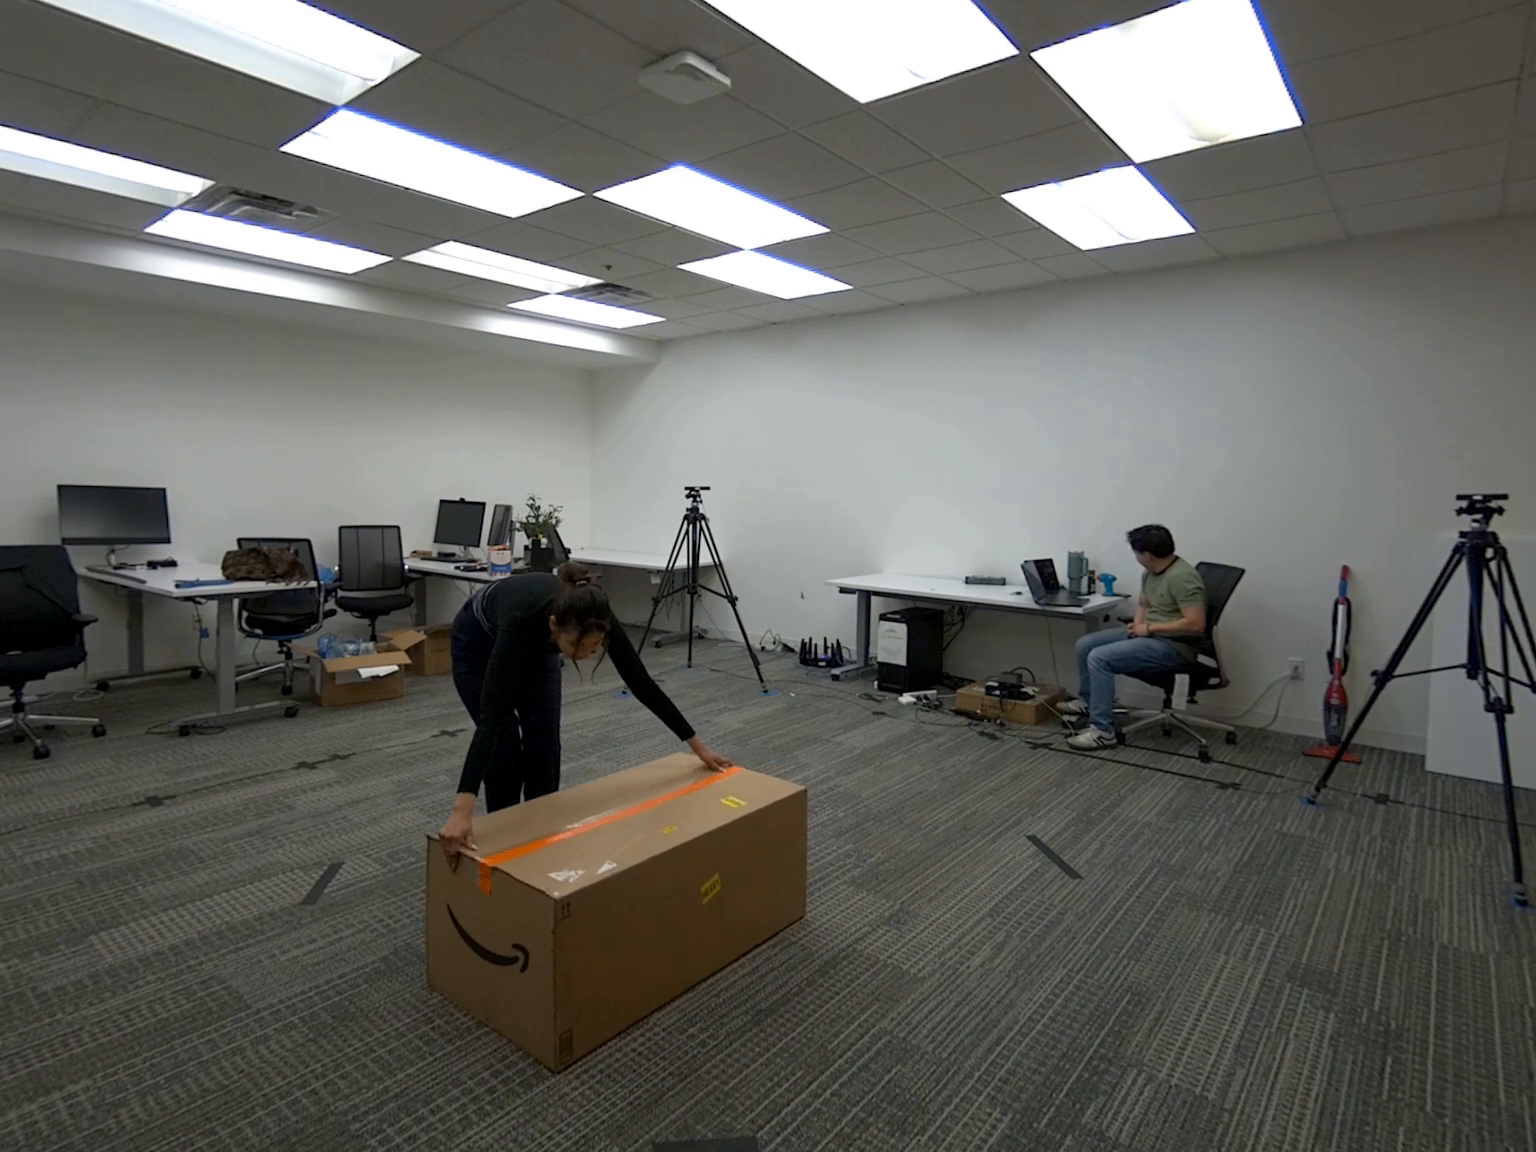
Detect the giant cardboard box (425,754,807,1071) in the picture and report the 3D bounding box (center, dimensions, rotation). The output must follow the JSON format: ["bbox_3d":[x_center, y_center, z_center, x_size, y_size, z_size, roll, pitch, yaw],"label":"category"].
[{"bbox_3d":[-0.419,0.906,2.558,0.597,0.424,0.996,5,7,39],"label":"giant cardboard box"}]
